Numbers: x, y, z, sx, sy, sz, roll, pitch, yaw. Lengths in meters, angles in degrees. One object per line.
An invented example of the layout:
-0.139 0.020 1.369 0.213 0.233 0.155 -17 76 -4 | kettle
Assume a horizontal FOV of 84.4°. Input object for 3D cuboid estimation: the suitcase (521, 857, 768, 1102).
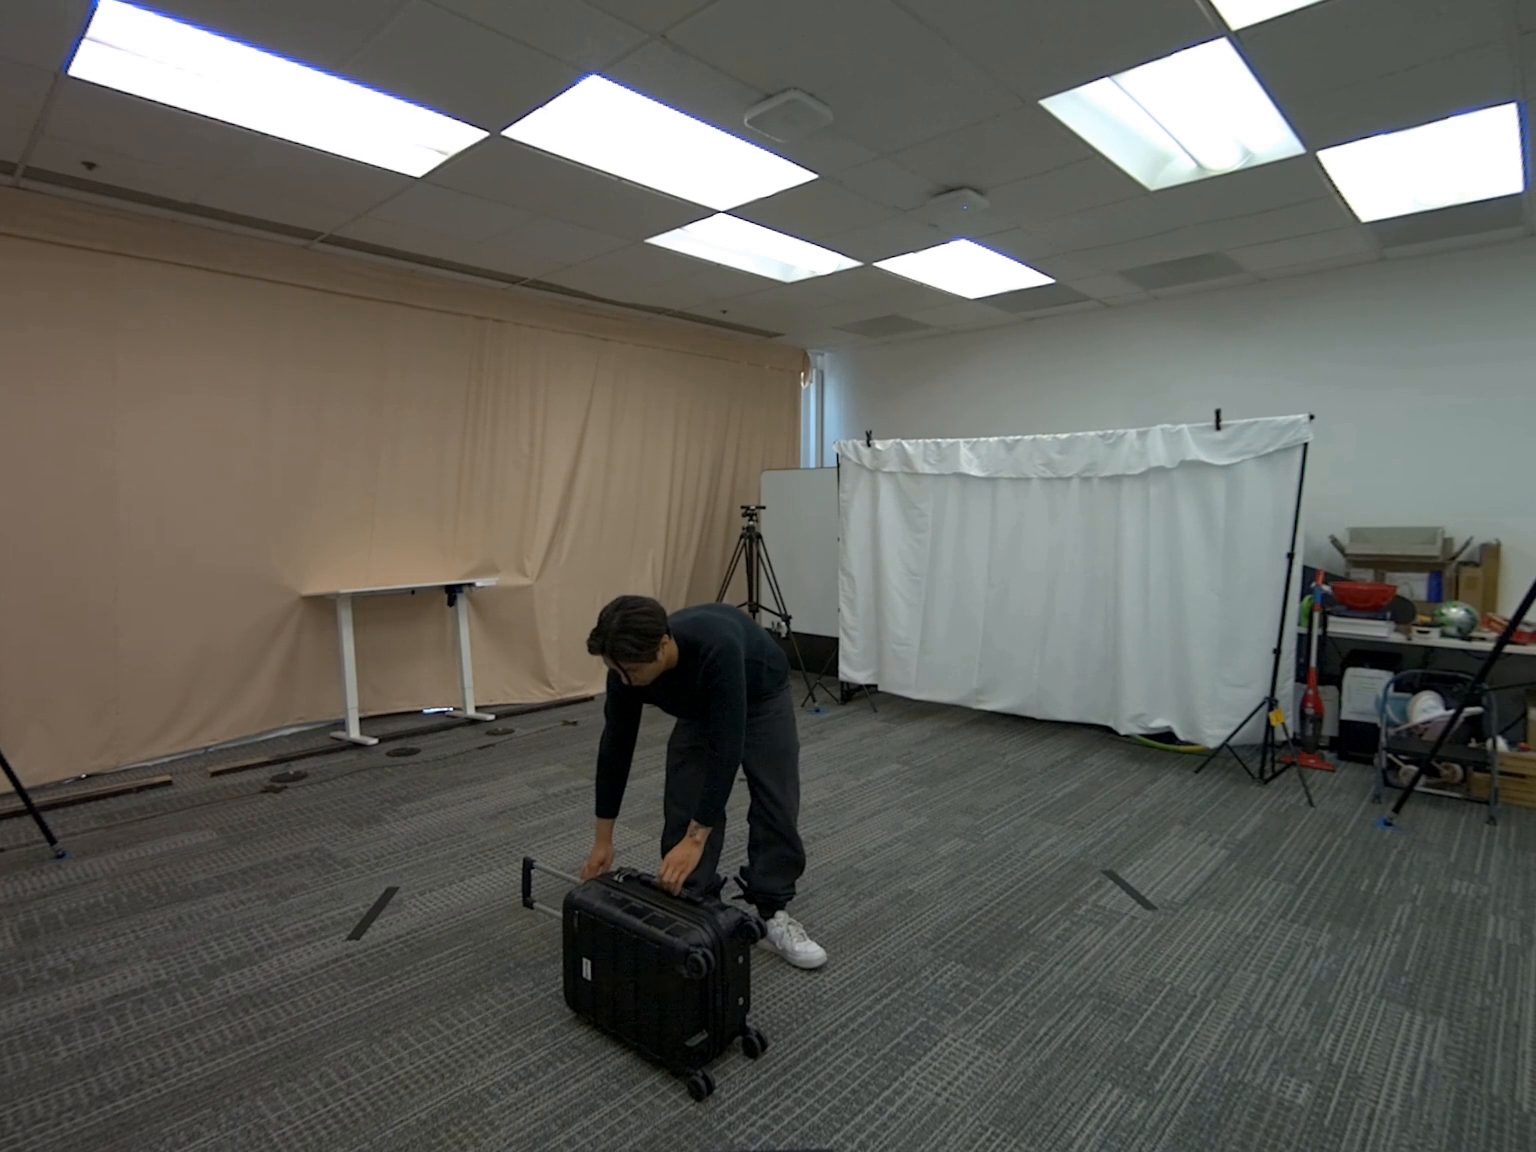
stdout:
-0.457 1.012 2.349 1.010 0.383 0.249 3 3 38 | suitcase
